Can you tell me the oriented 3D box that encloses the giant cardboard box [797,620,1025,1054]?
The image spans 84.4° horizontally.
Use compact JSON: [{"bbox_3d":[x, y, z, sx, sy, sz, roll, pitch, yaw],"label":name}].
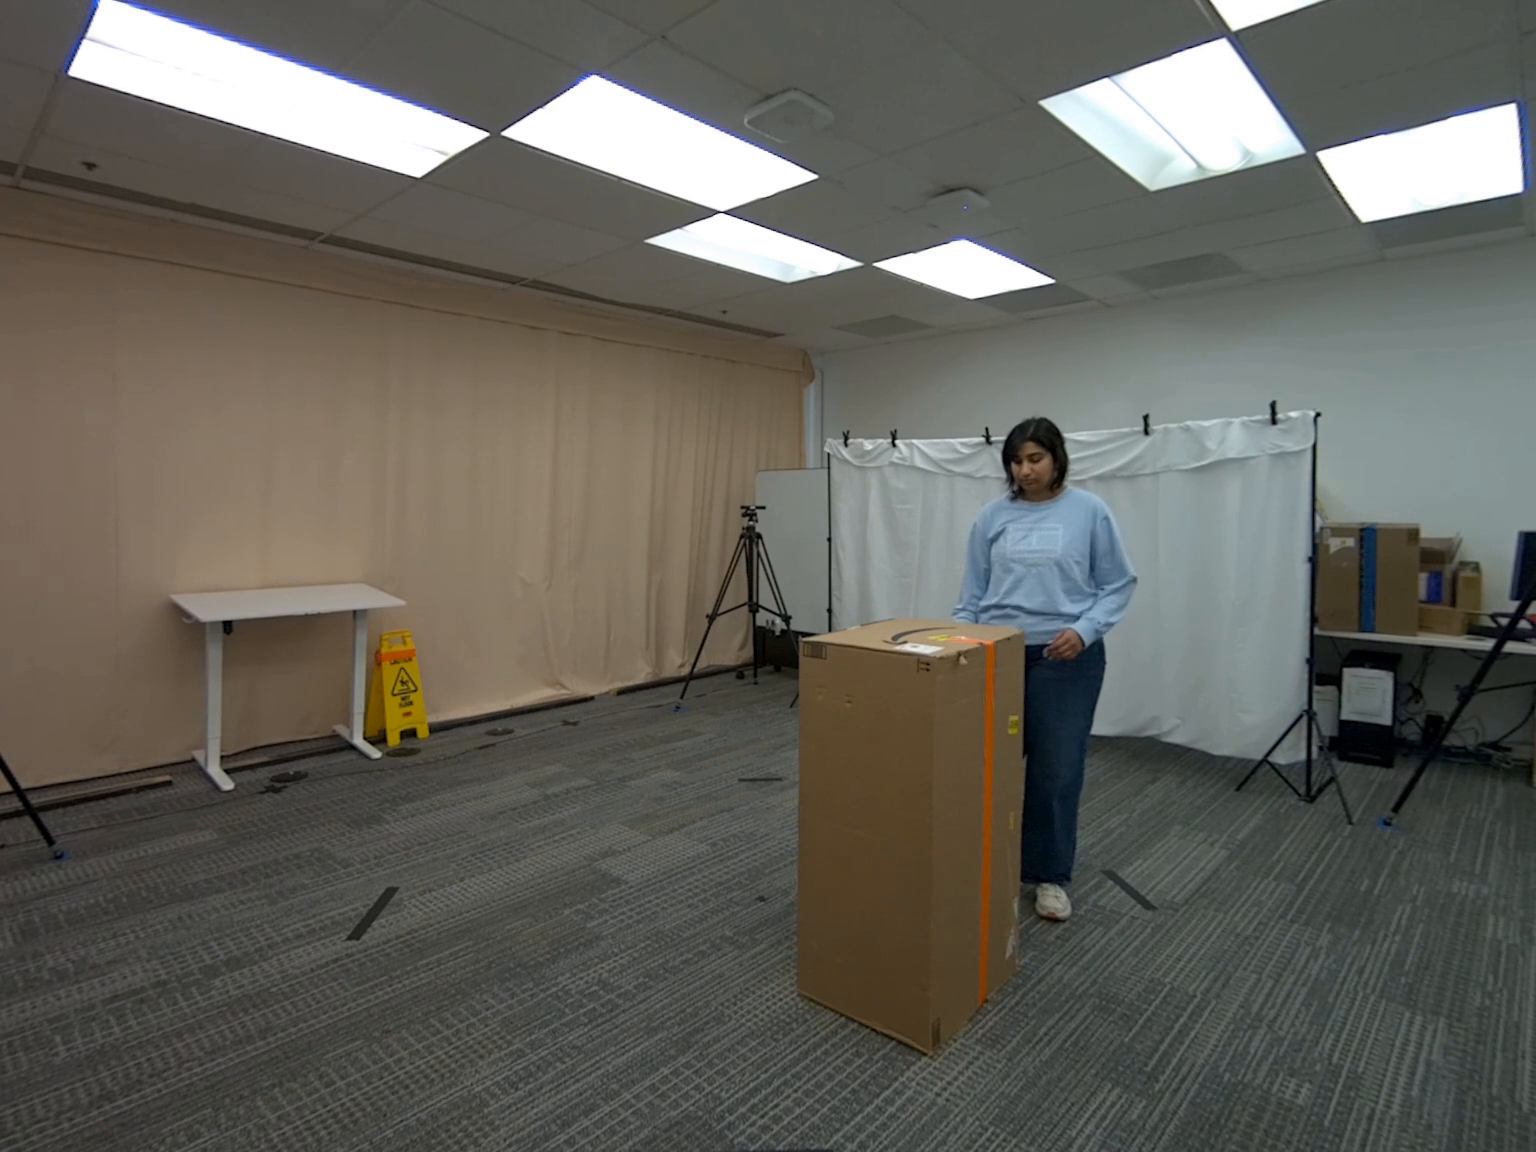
[{"bbox_3d":[0.429,0.682,2.445,0.440,1.024,0.560,3,4,39],"label":"giant cardboard box"}]
